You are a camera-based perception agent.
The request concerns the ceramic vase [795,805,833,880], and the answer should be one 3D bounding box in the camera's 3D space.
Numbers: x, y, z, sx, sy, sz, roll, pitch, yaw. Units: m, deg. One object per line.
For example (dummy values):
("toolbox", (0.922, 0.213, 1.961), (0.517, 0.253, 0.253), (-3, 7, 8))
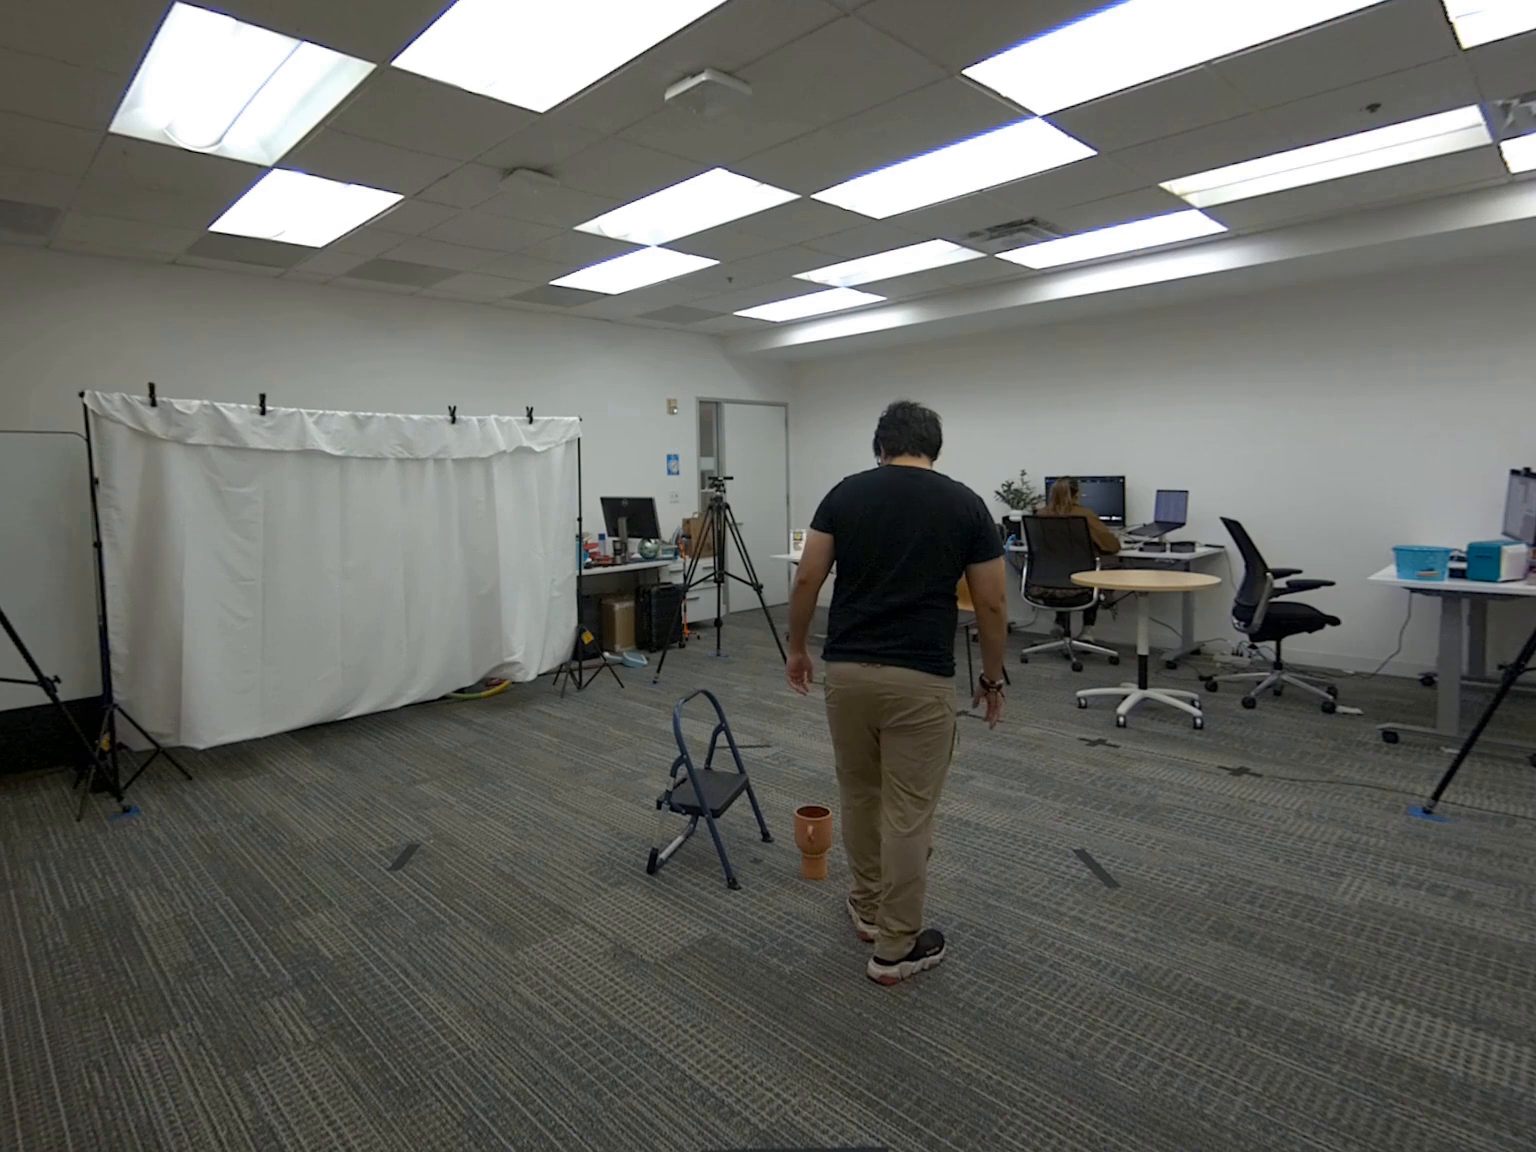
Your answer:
("ceramic vase", (0.160, 0.930, 2.993), (0.154, 0.219, 0.139), (-4, 5, -39))
